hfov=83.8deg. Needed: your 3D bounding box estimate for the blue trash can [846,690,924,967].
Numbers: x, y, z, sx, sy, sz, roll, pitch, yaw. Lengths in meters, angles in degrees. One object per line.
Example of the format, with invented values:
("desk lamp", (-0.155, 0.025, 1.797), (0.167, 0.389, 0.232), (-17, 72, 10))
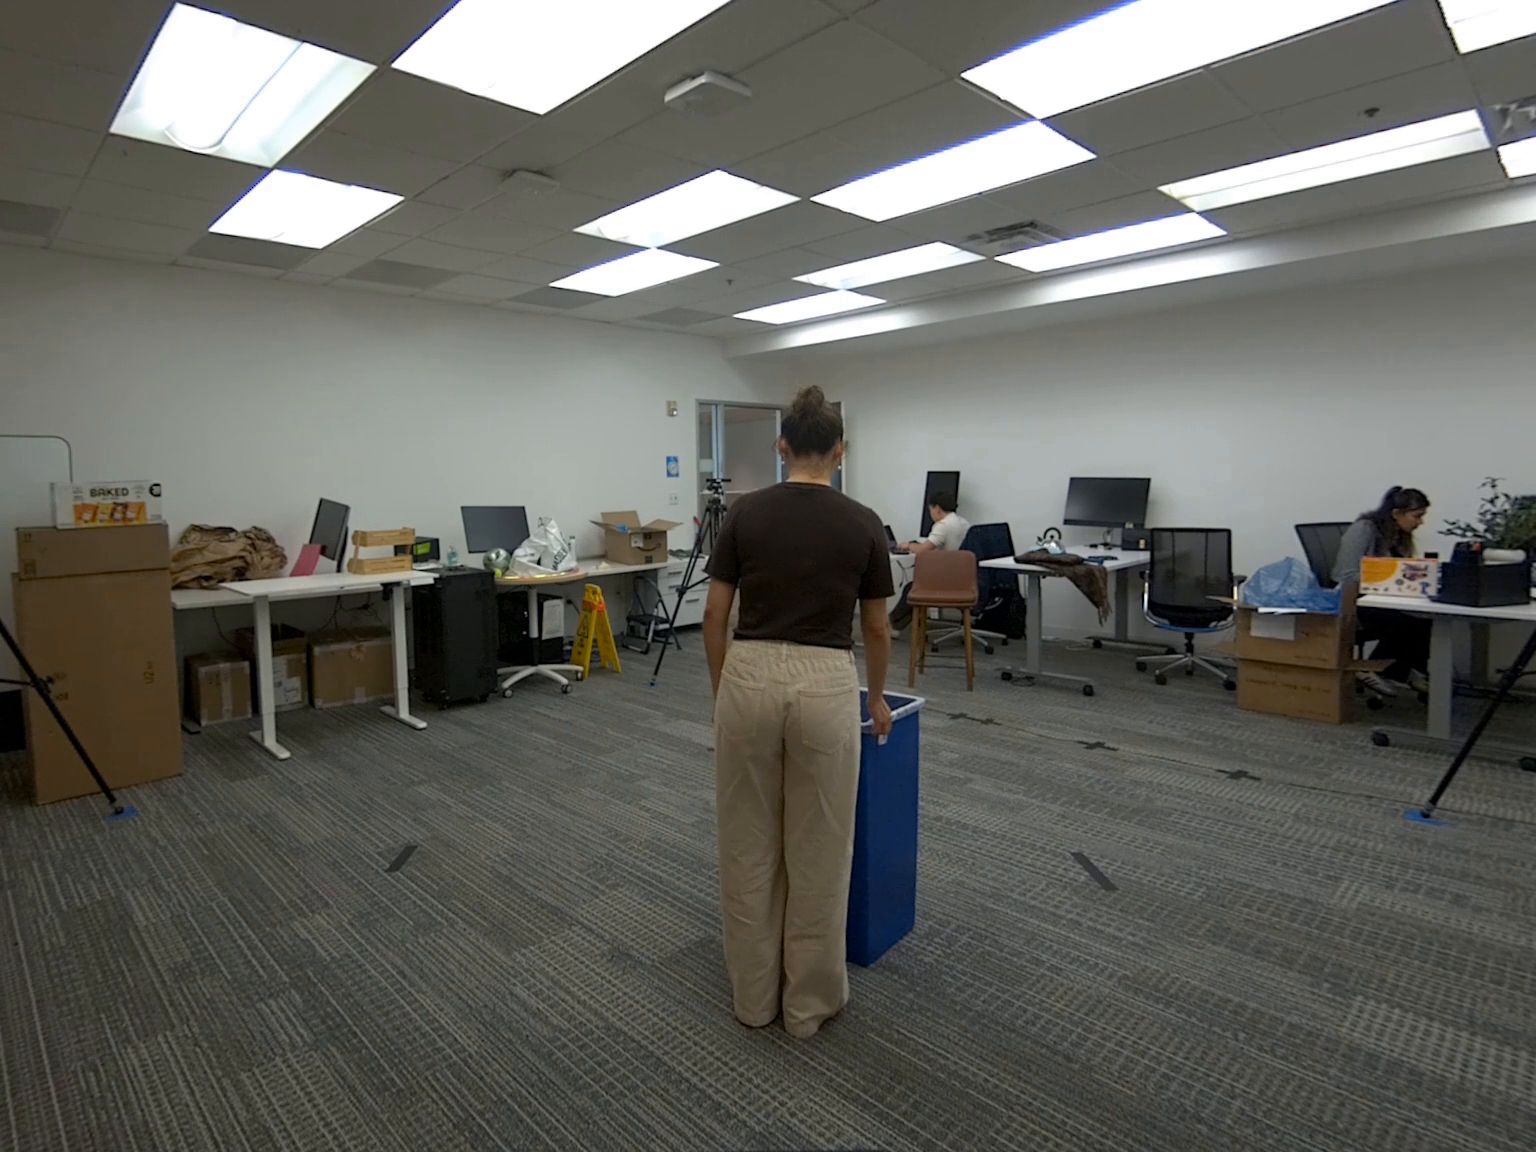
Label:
("blue trash can", (0.243, 0.737, 2.615), (0.385, 0.711, 0.368), (3, 5, 39))
